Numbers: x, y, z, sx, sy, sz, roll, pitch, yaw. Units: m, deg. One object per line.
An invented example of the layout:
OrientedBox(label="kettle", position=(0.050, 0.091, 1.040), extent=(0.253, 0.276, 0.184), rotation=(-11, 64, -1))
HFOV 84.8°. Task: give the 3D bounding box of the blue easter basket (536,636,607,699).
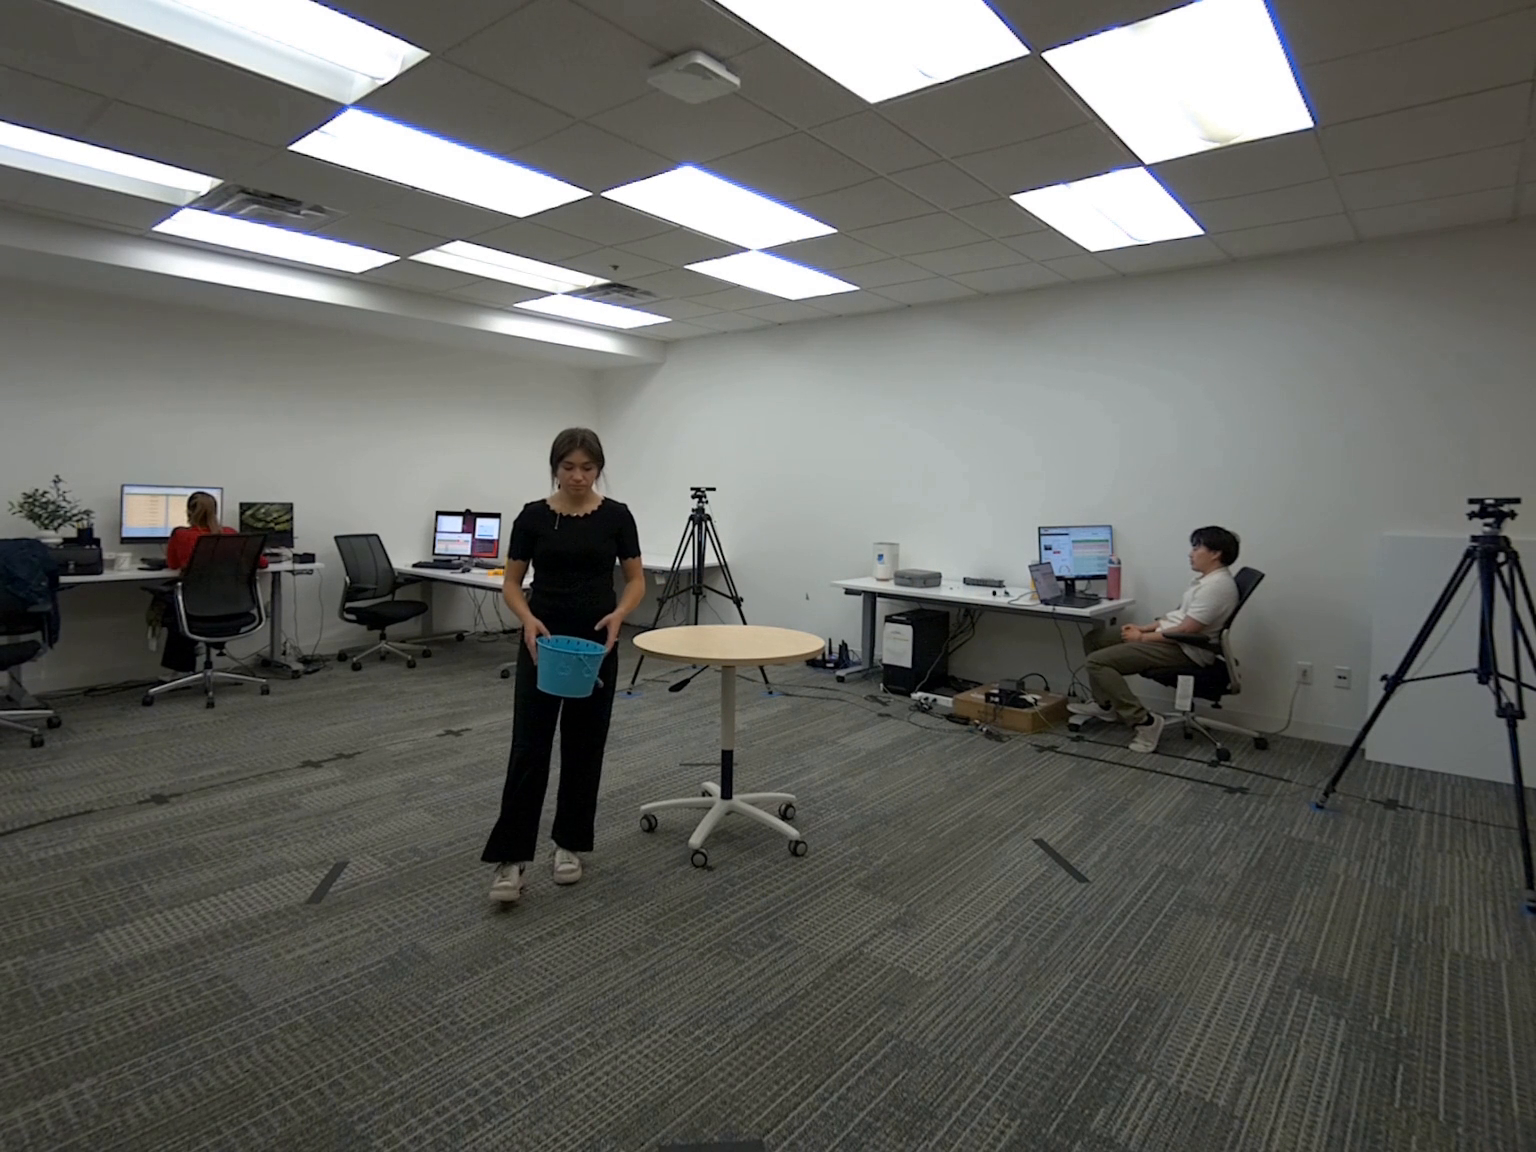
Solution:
OrientedBox(label="blue easter basket", position=(-0.673, 0.301, 2.807), extent=(0.243, 0.155, 0.245), rotation=(9, 5, -3))
